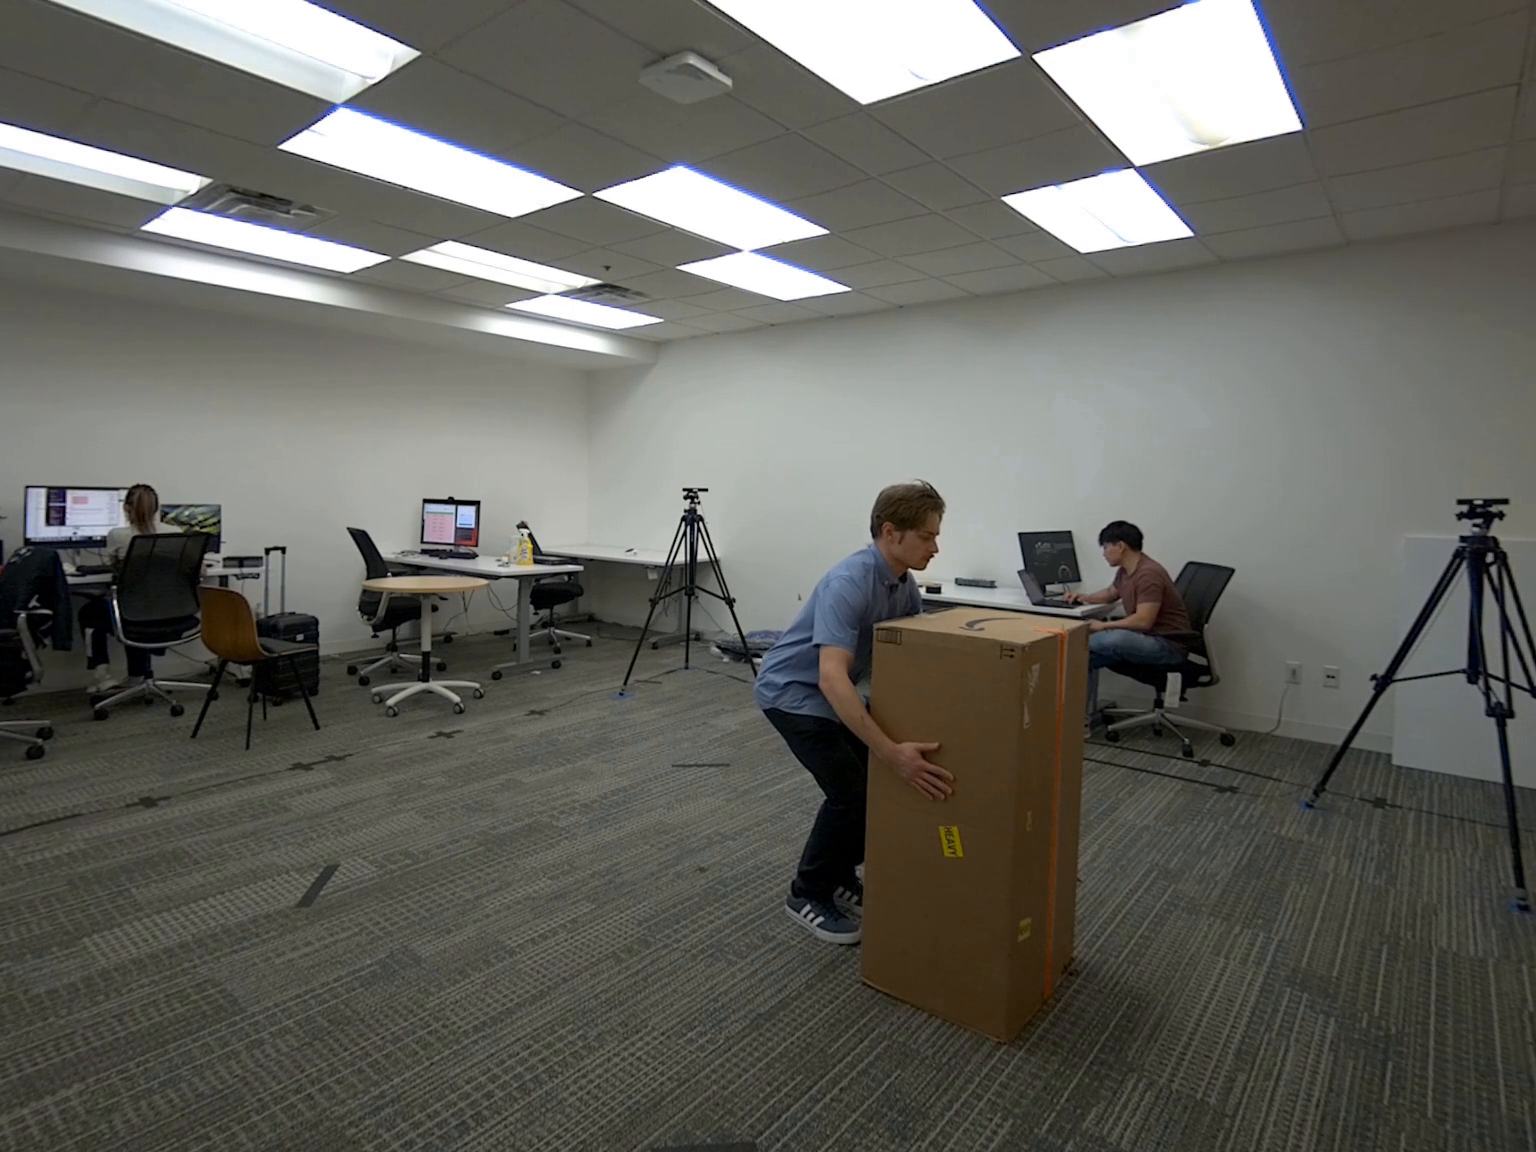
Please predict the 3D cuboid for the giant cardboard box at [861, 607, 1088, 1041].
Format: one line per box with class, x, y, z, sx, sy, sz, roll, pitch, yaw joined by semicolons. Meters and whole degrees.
giant cardboard box;0.611;0.641;2.471;0.440;1.023;0.560;4;4;38
